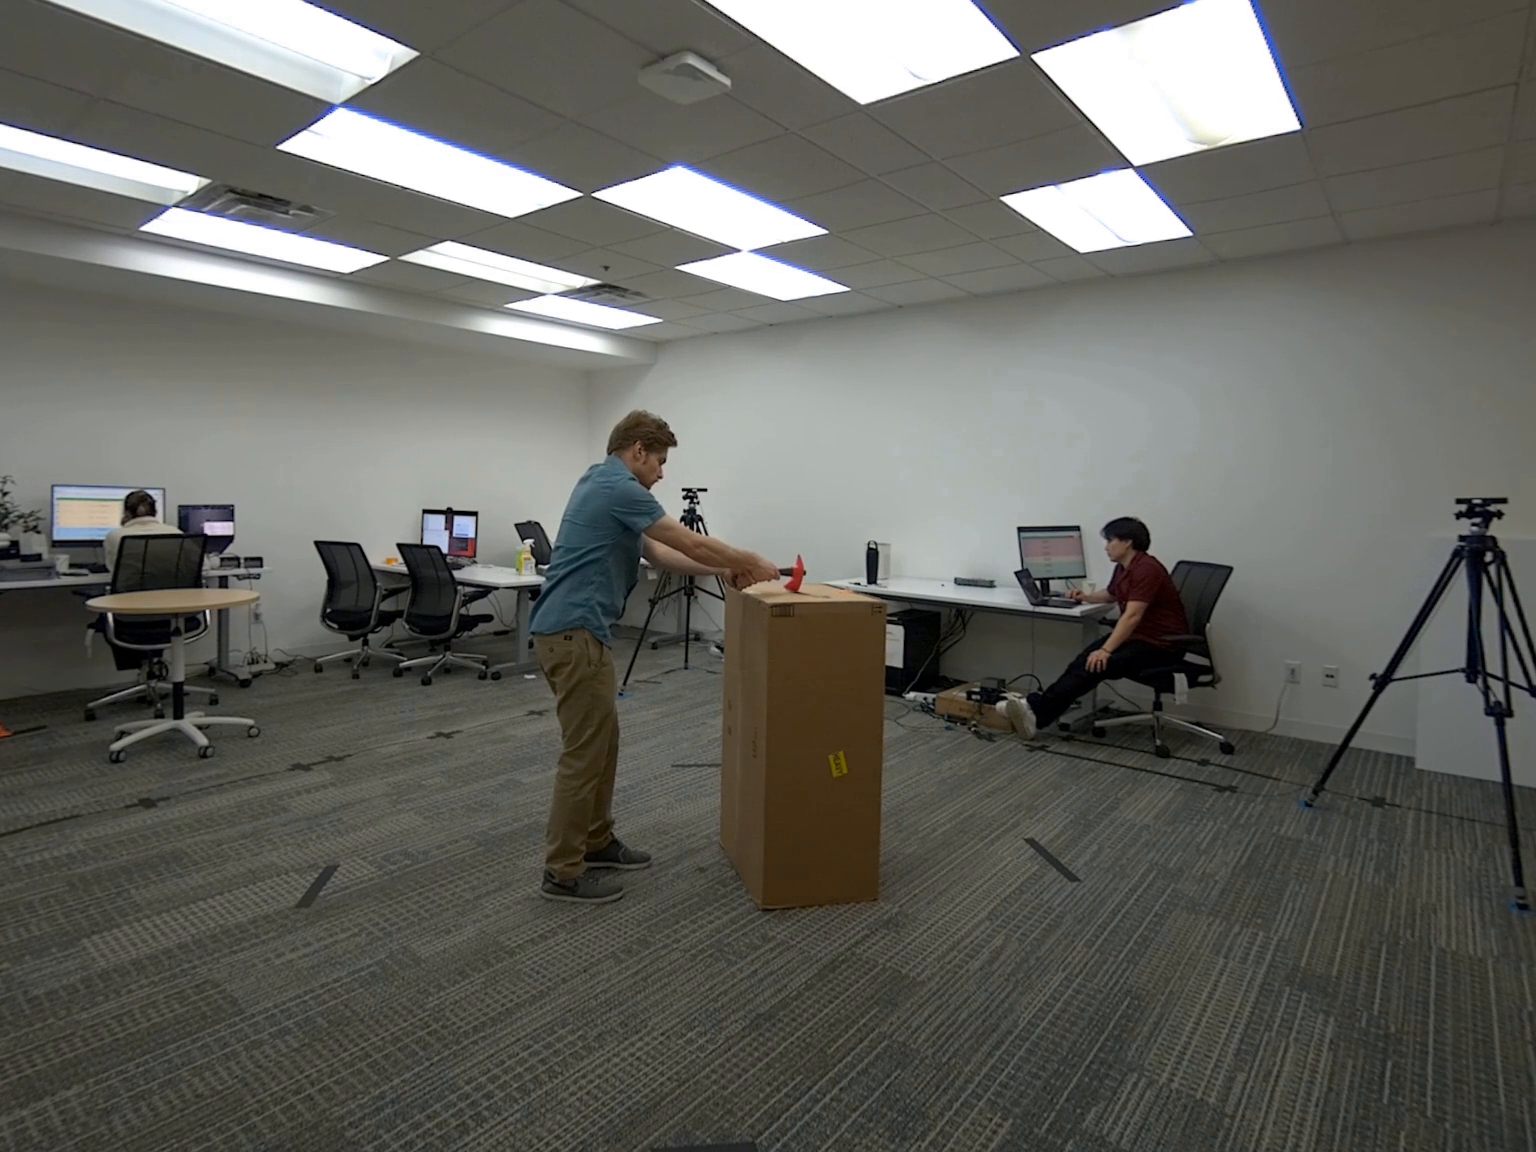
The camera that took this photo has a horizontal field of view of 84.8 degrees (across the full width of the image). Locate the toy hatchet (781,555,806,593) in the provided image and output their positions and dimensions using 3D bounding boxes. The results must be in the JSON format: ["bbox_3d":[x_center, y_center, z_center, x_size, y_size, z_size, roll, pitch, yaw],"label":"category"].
[{"bbox_3d":[-0.009,0.021,3.072,0.269,0.129,0.030,-20,14,-4],"label":"toy hatchet"}]
